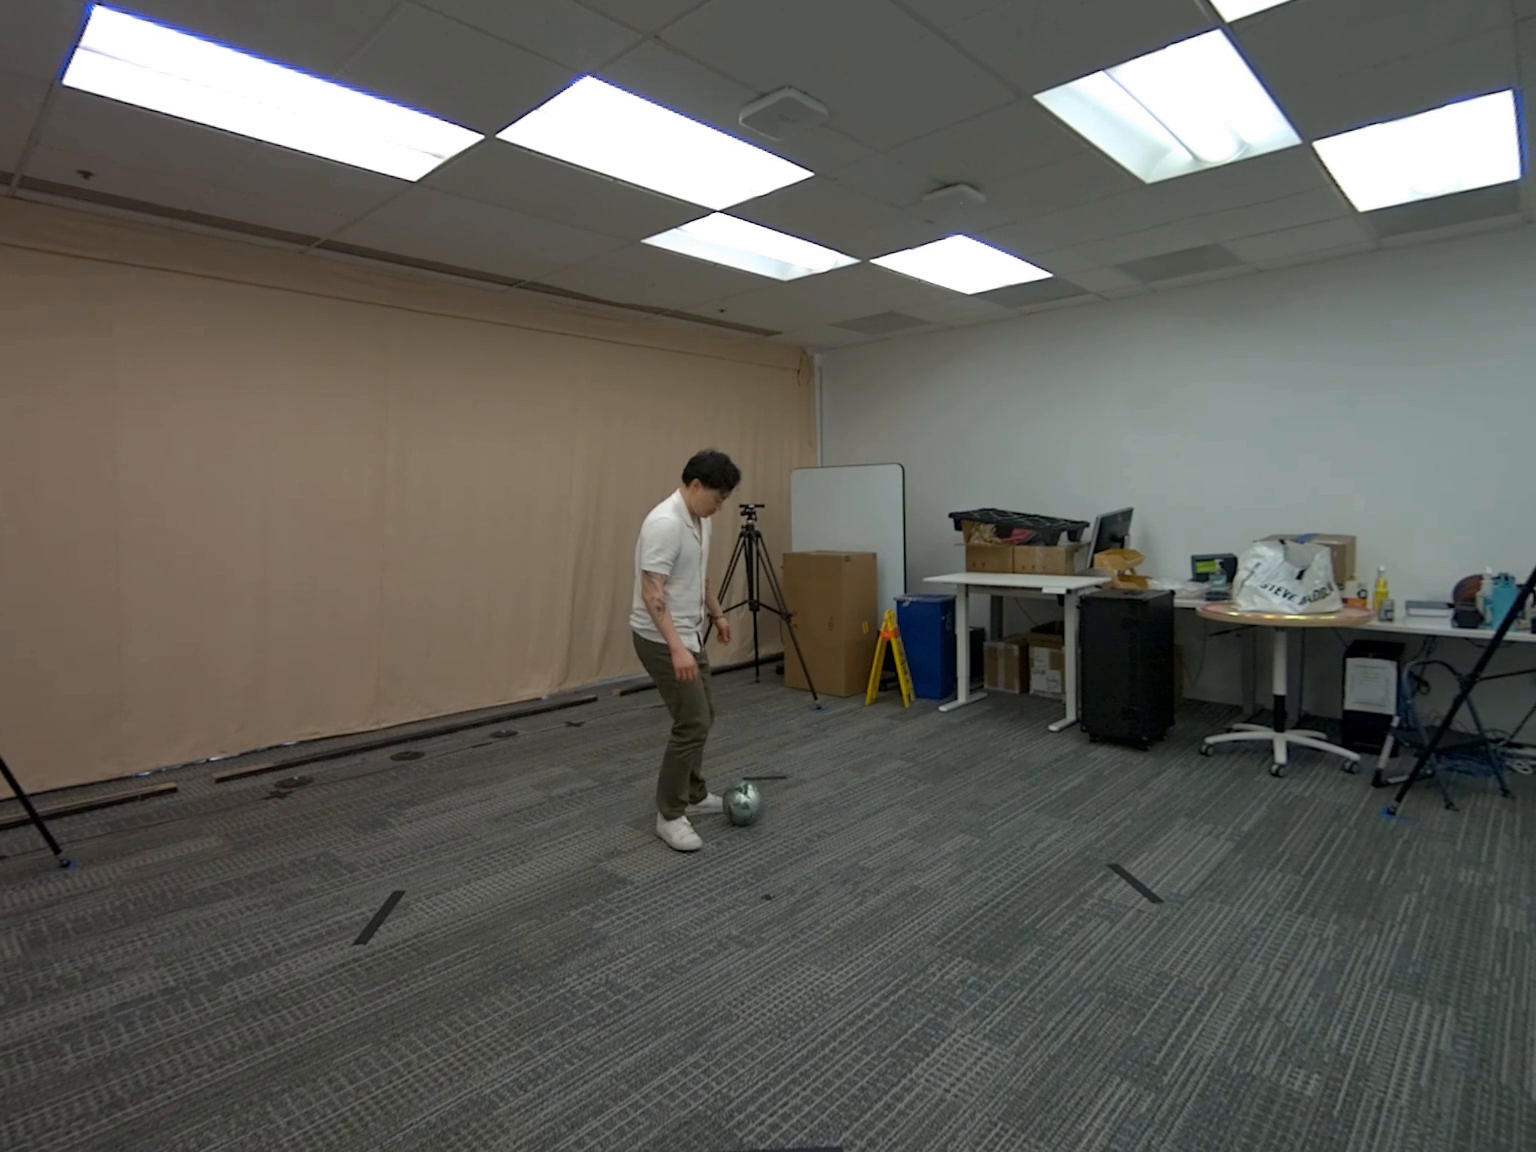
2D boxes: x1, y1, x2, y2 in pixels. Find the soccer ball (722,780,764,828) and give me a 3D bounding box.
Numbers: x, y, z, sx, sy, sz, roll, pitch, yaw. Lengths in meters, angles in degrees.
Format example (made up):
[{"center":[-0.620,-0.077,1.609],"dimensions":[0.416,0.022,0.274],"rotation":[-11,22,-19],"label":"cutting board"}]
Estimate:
[{"center":[-0.106,0.988,3.674],"dimensions":[0.187,0.187,0.188],"rotation":[-1,4,-2],"label":"soccer ball"}]
